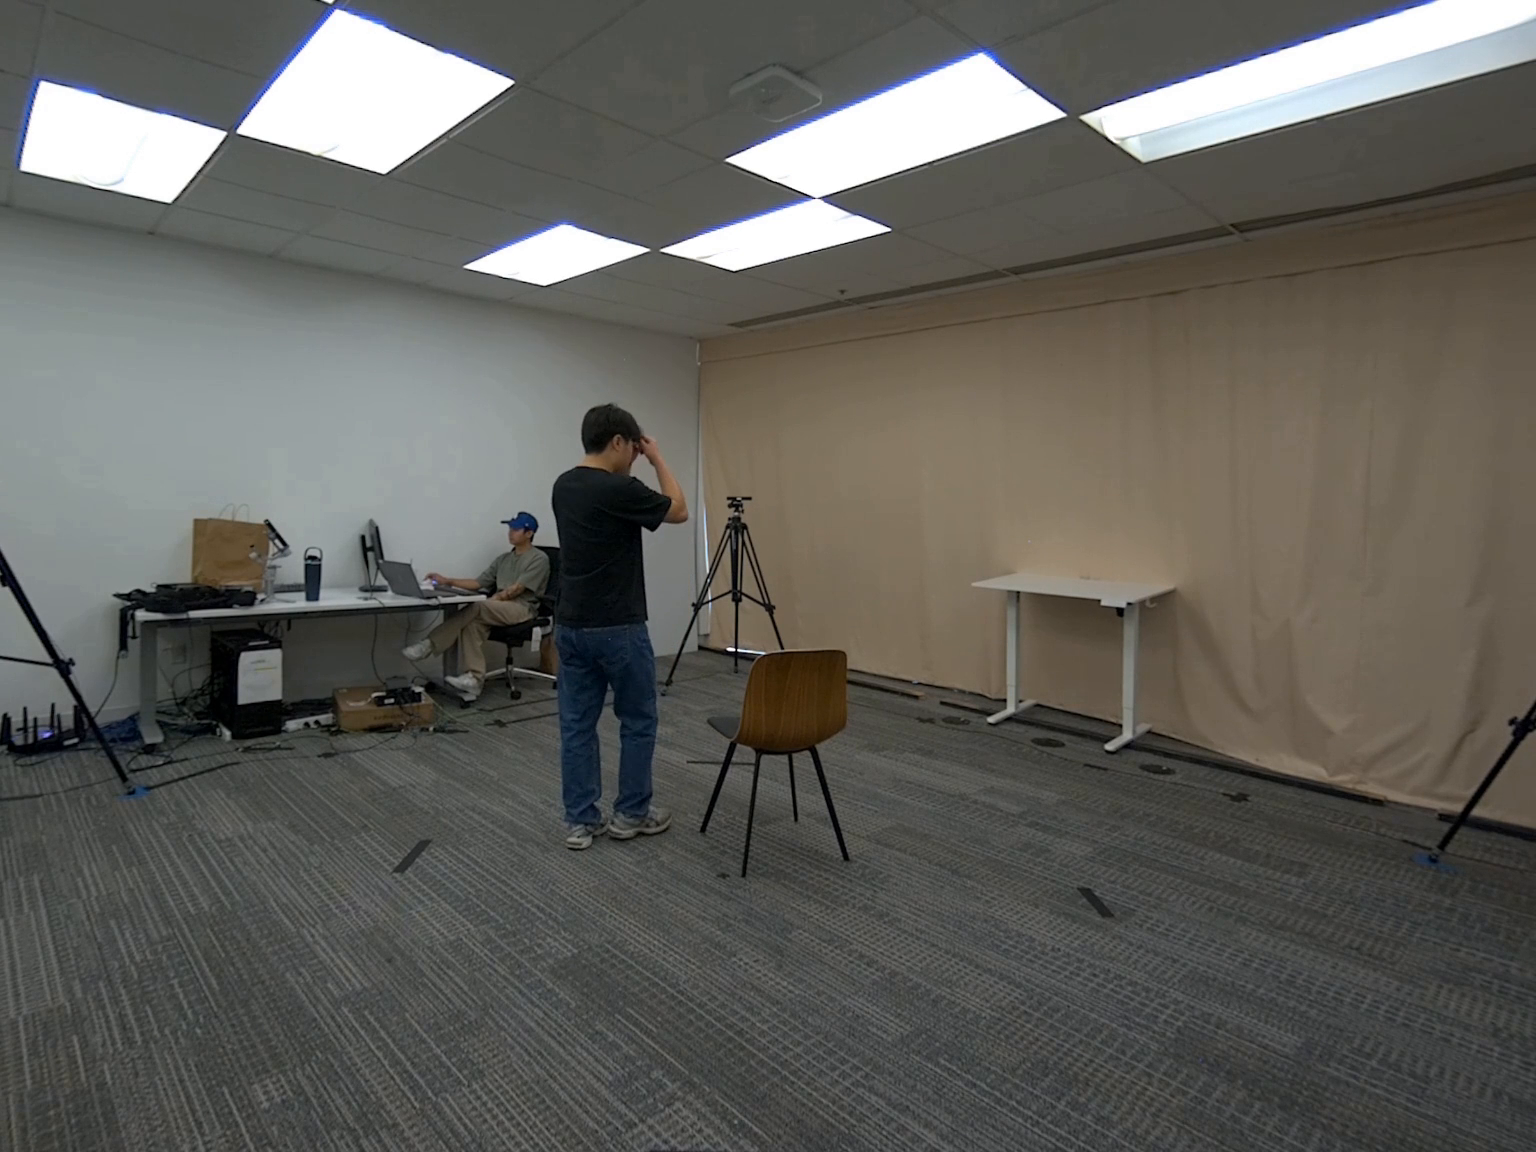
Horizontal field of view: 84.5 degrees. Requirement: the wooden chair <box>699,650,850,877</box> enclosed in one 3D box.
[{"bbox_3d":[0.019,0.659,3.356,0.470,0.873,0.535,0,8,-24],"label":"wooden chair"}]
